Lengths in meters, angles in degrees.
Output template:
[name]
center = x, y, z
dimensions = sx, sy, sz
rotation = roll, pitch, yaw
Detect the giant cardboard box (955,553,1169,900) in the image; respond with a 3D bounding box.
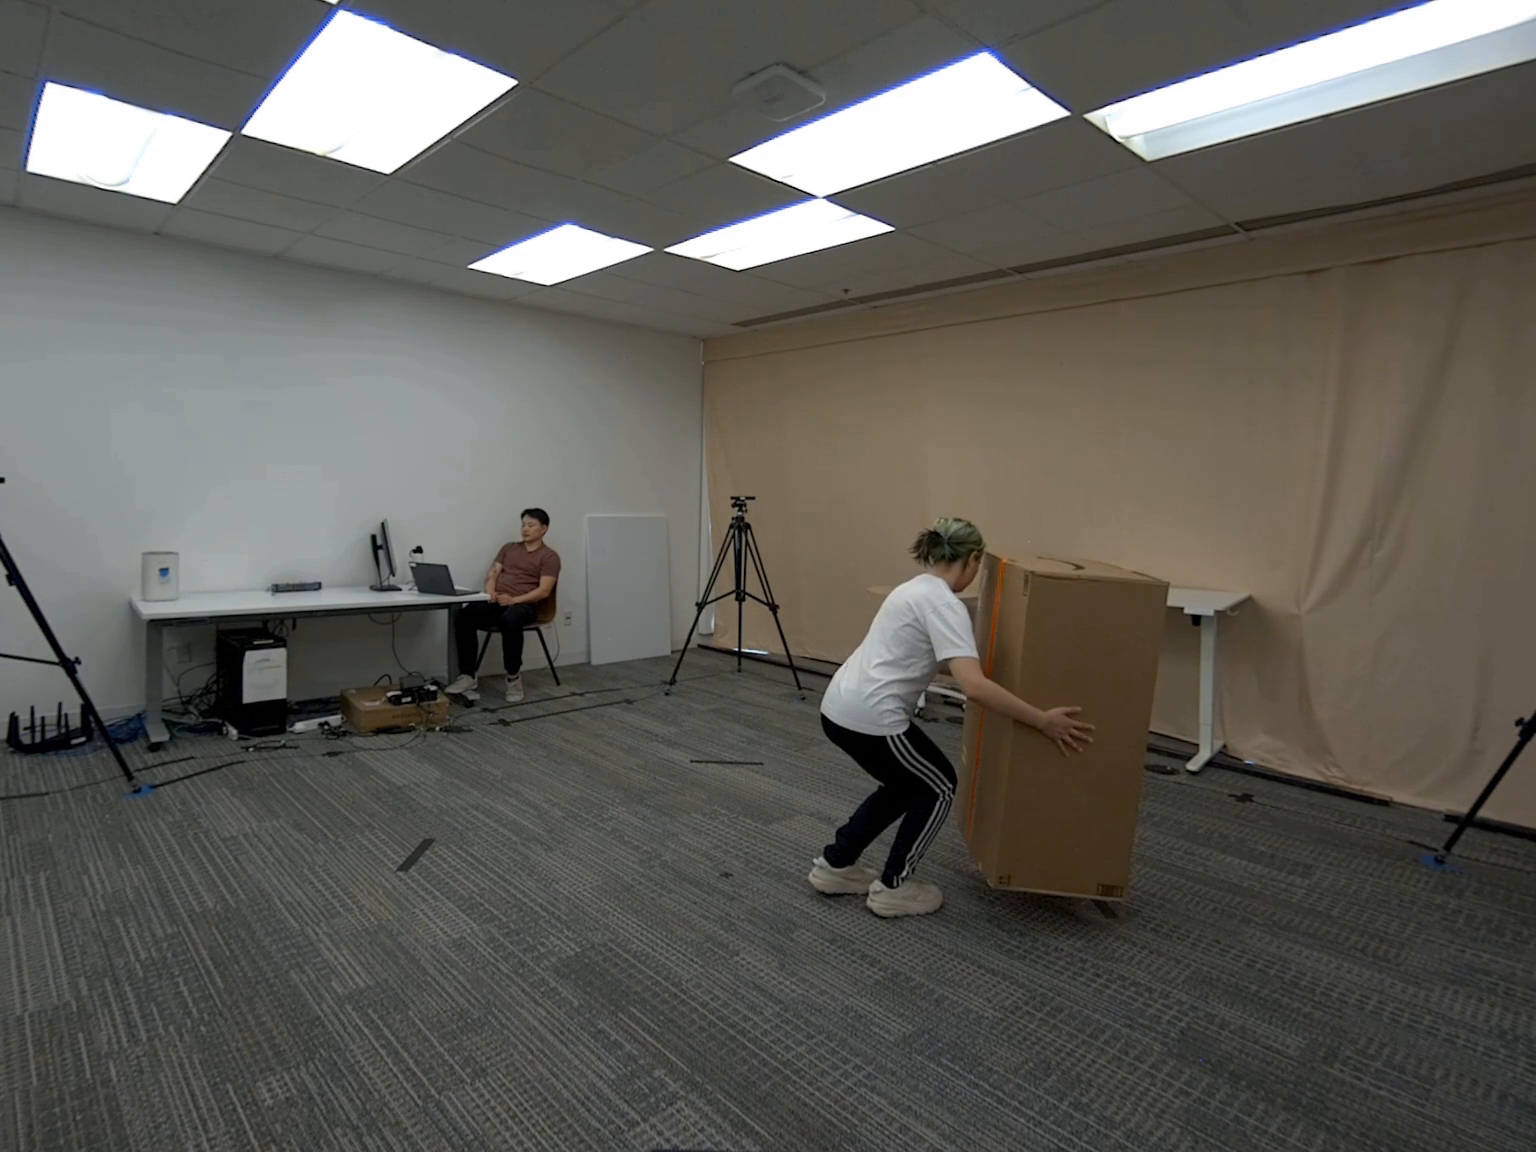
[giant cardboard box]
center = 0.954, 0.467, 2.880
dimensions = 0.447, 1.022, 0.586
rotation = 6, 7, 0
